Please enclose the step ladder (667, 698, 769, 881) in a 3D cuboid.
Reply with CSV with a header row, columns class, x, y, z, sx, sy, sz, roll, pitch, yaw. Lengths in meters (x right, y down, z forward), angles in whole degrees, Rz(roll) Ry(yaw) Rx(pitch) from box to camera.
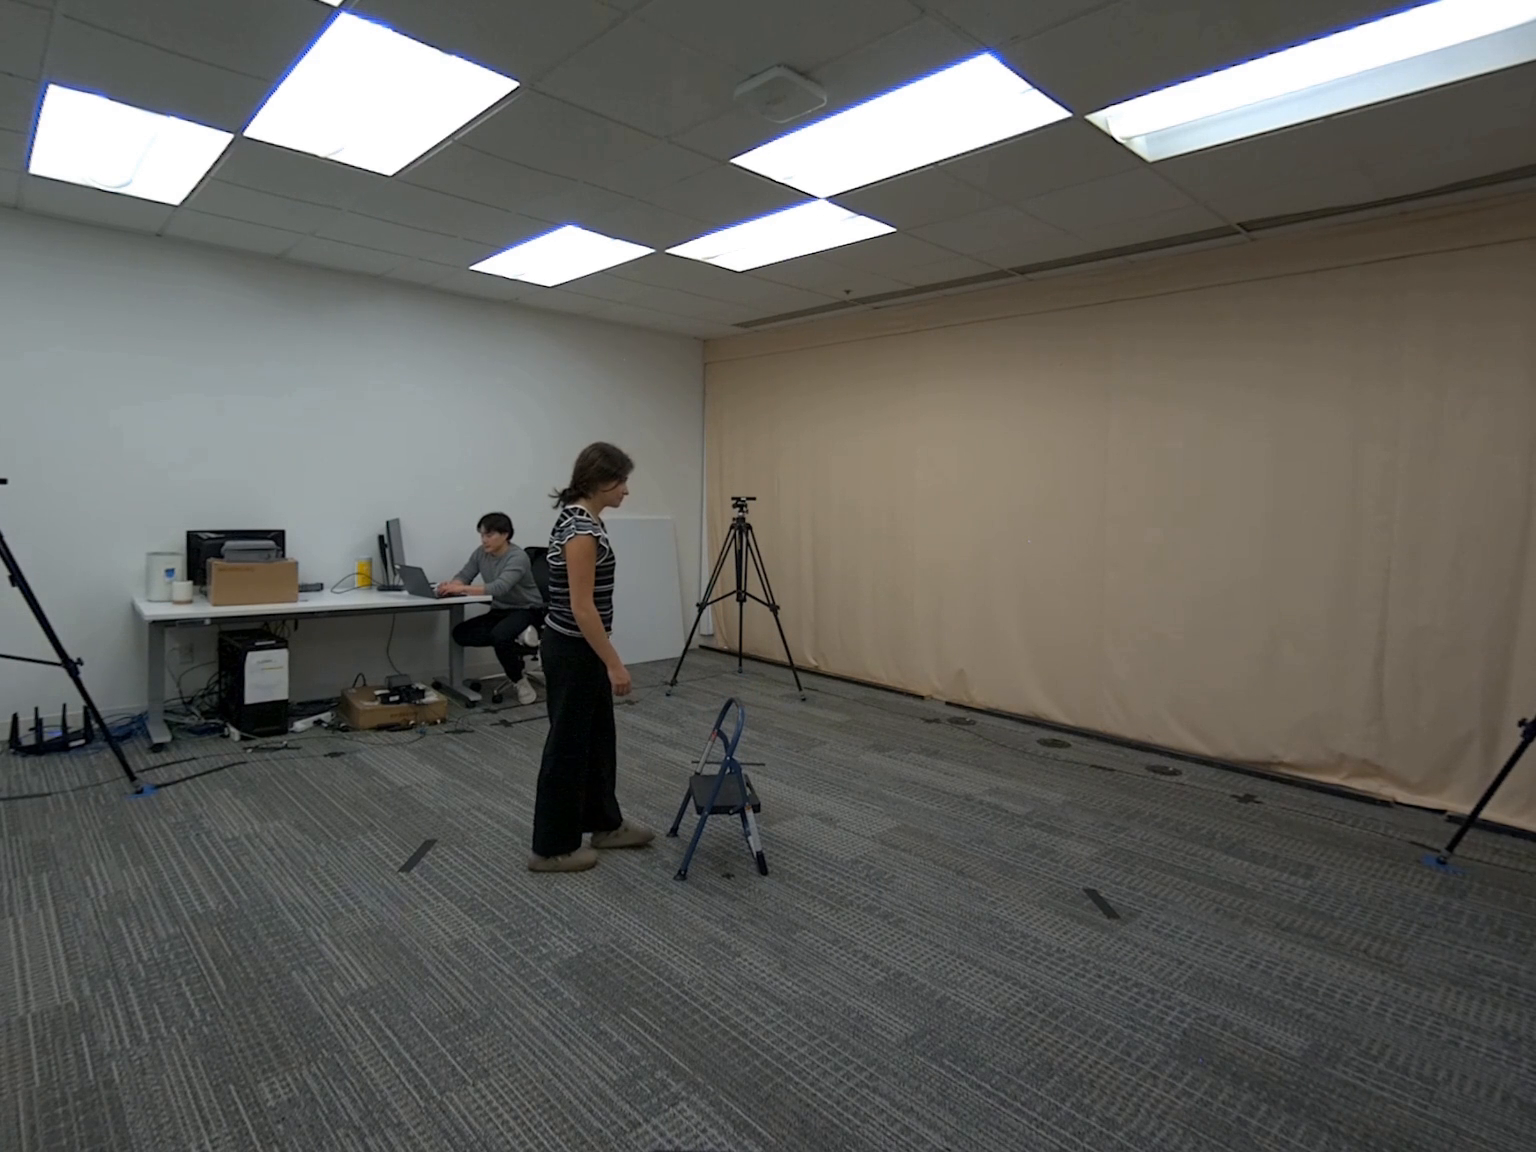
class,x,y,z,sx,sy,sz,roll,pitch,yaw
step ladder,-0.204,0.790,3.274,0.347,0.604,0.435,0,4,-10
